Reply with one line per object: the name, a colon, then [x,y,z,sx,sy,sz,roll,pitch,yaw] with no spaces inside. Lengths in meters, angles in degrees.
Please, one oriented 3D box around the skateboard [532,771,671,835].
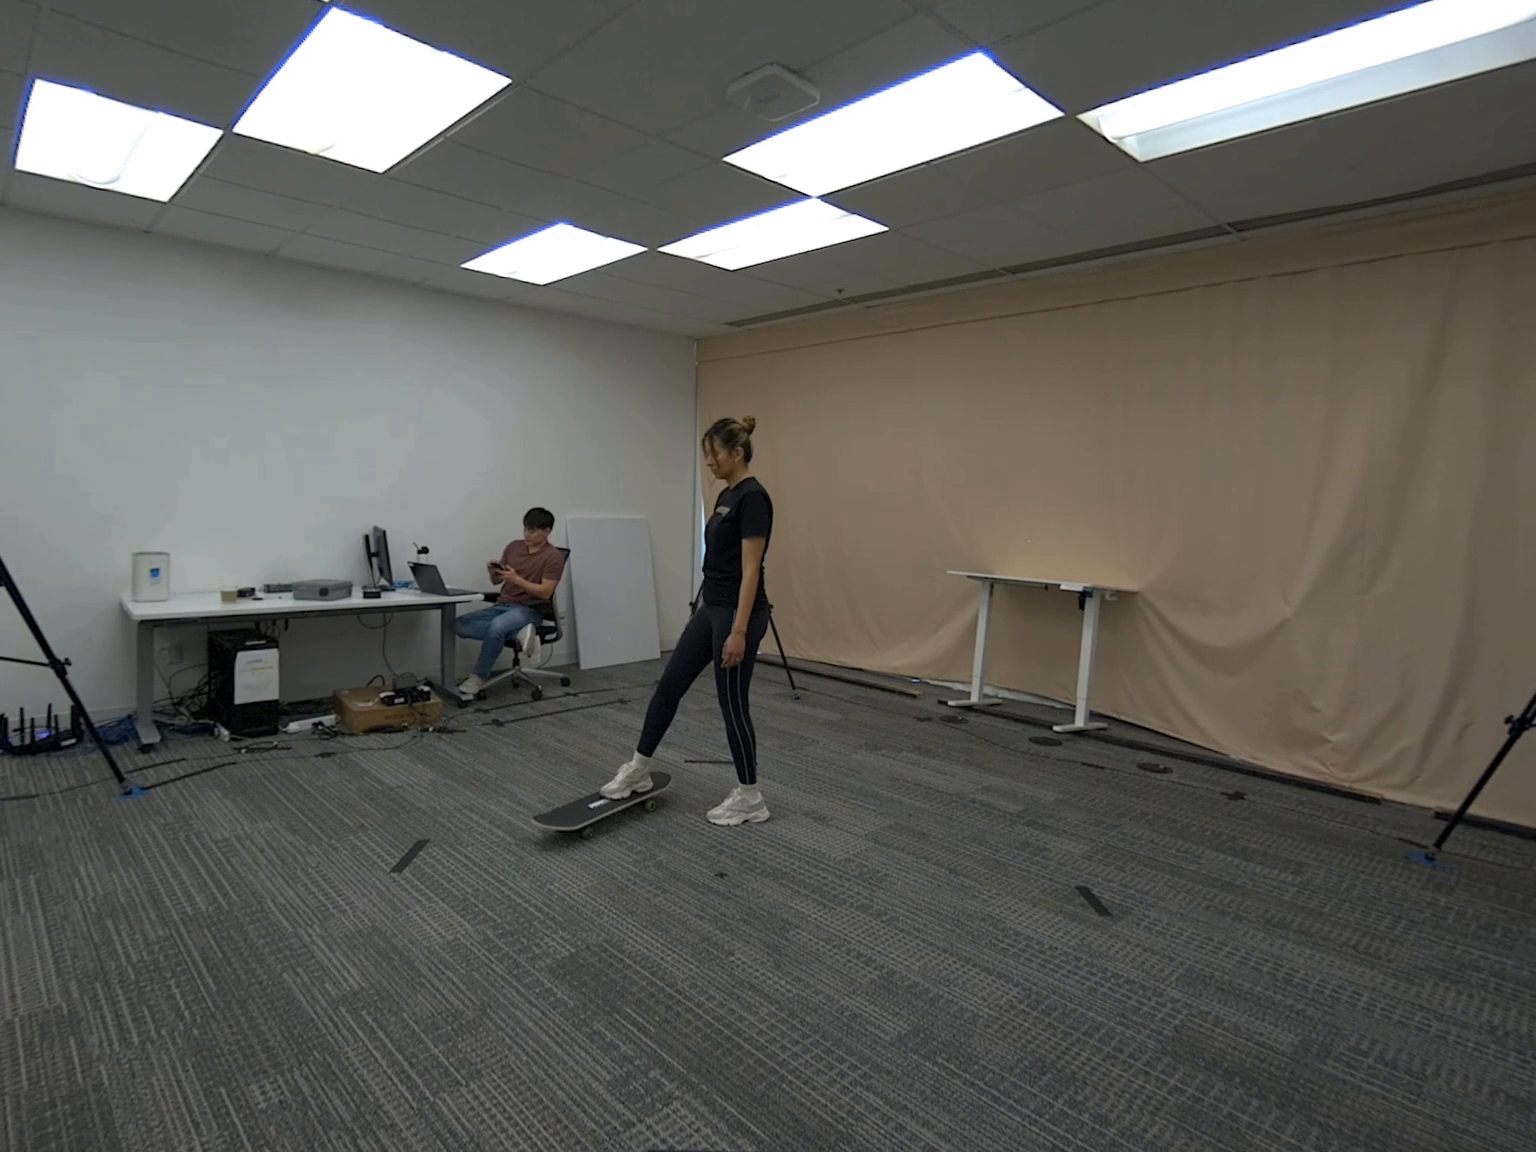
skateboard: [-0.693,0.991,3.600,0.198,0.110,0.770,5,6,31]
